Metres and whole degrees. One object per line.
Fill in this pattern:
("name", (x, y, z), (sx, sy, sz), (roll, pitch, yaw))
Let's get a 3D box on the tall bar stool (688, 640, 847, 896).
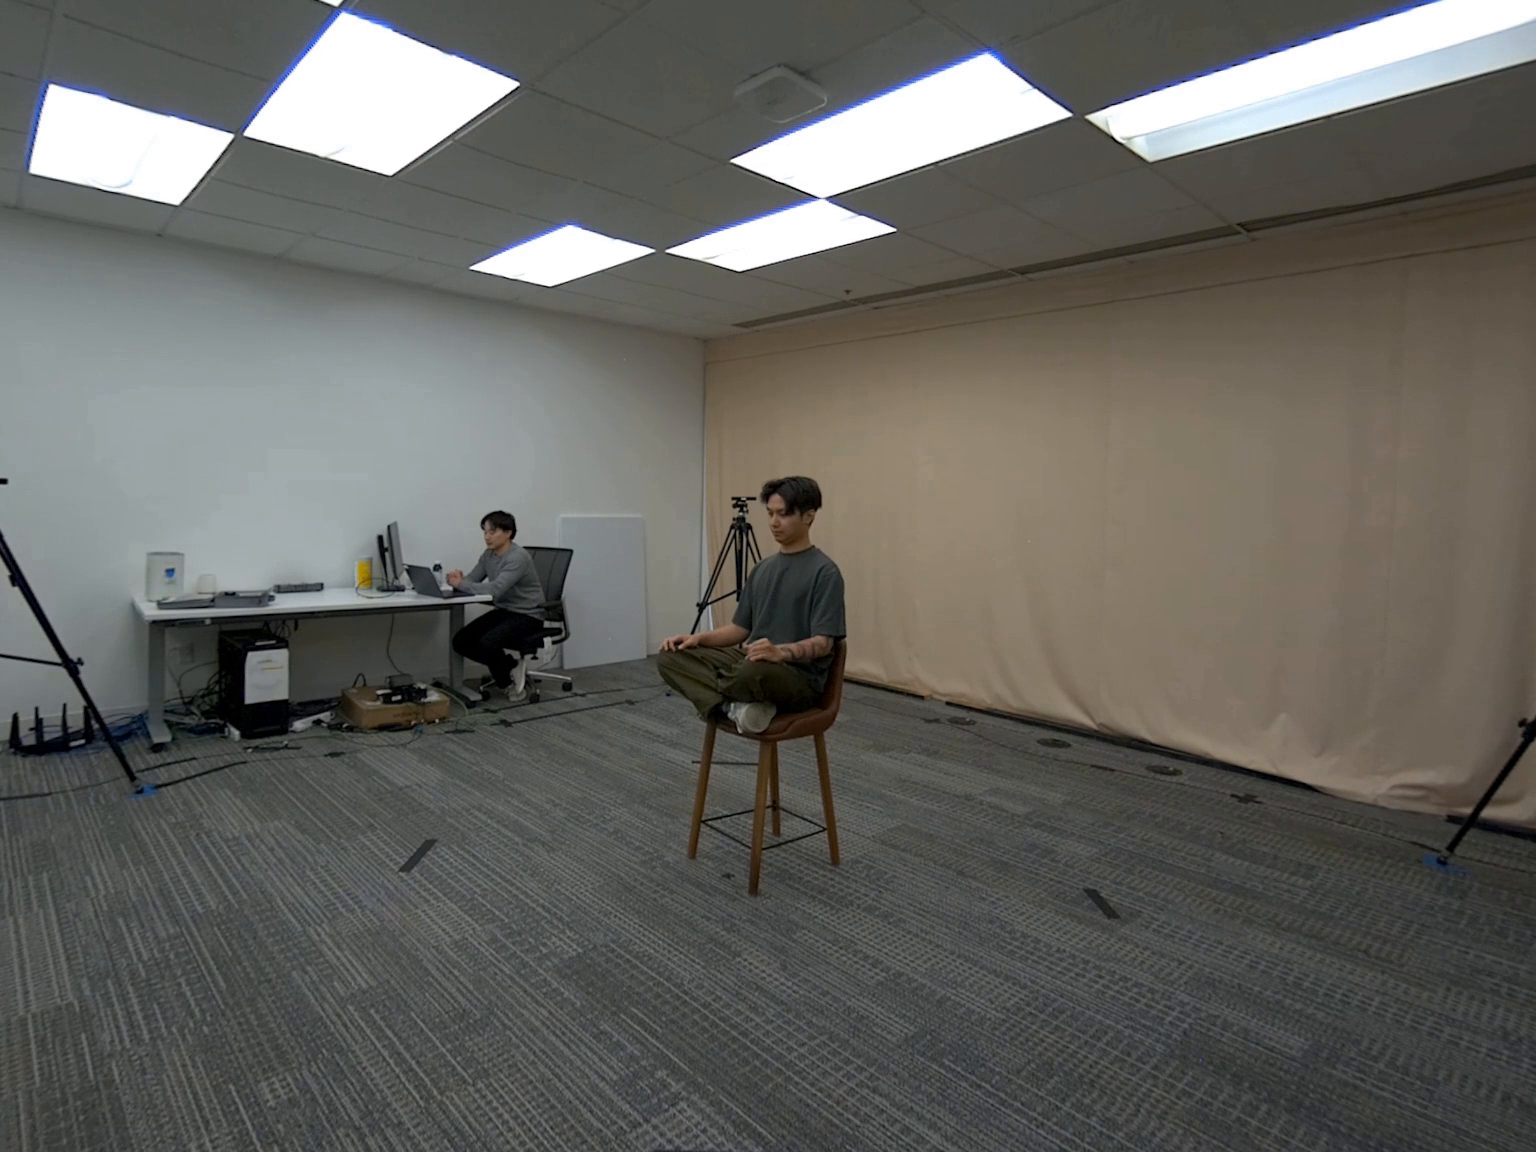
("tall bar stool", (0.002, 0.664, 3.221), (0.456, 0.889, 0.468), (2, 2, -39))
